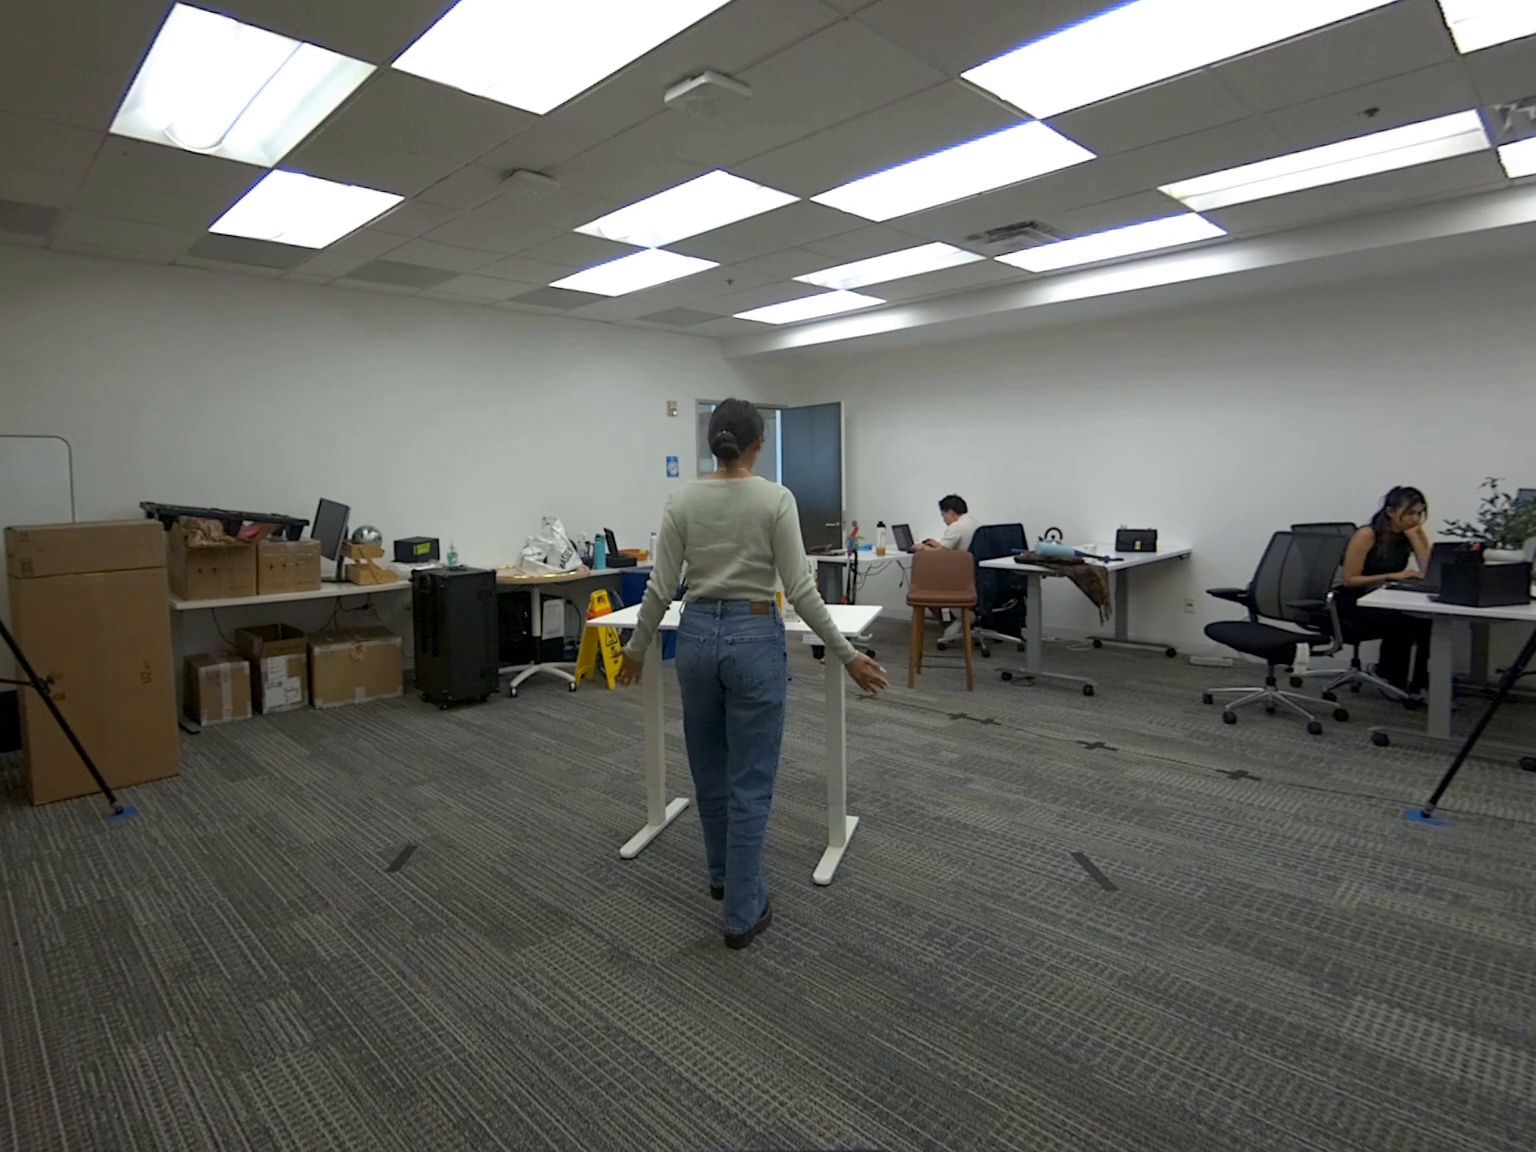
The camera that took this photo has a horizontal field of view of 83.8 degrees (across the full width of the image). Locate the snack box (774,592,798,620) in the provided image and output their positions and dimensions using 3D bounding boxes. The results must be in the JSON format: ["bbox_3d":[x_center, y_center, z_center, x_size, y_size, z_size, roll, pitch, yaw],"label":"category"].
[{"bbox_3d":[-0.040,0.043,3.254,0.412,0.205,0.336,0,5,16],"label":"snack box"}]
